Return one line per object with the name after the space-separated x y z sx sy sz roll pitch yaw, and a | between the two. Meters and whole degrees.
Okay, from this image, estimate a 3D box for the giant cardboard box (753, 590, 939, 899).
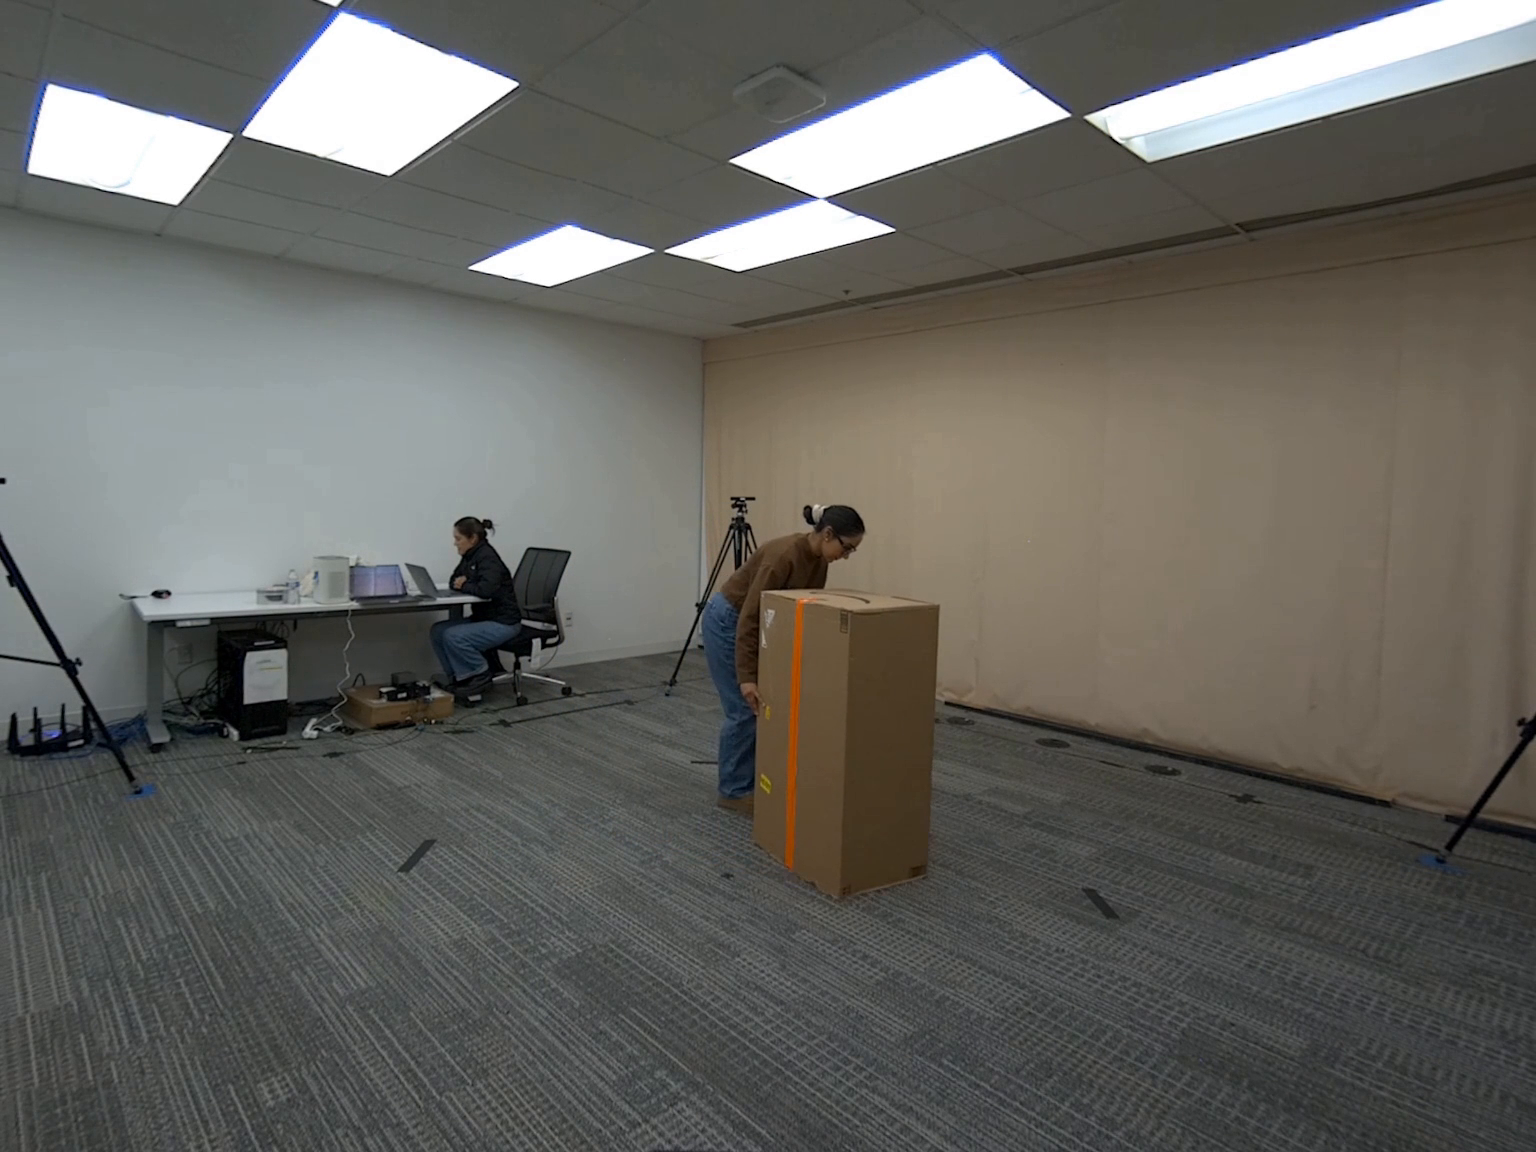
0.276 0.596 3.245 0.417 1.023 0.591 0 5 -32 | giant cardboard box
